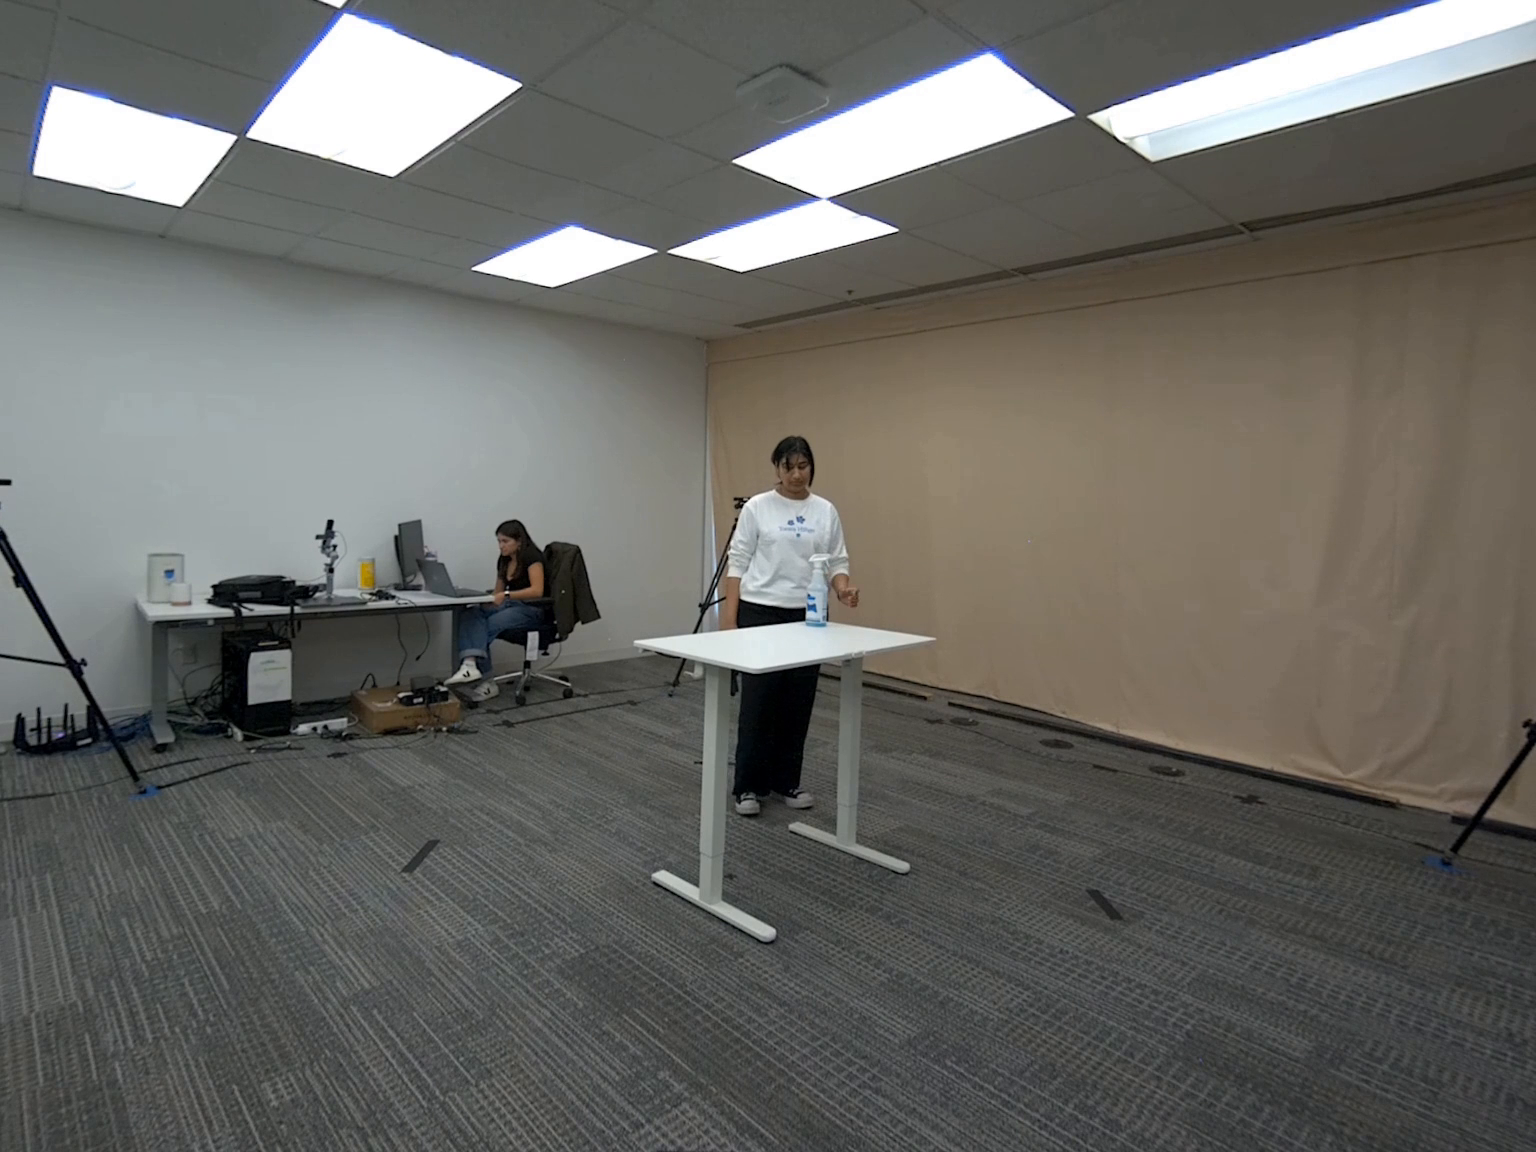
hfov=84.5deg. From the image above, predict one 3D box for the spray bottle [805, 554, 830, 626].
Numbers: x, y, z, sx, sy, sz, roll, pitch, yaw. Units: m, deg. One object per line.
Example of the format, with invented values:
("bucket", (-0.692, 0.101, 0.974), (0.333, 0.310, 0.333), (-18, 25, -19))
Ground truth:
("spray bottle", (0.194, 0.060, 3.466), (0.091, 0.297, 0.086), (2, 1, 14))
